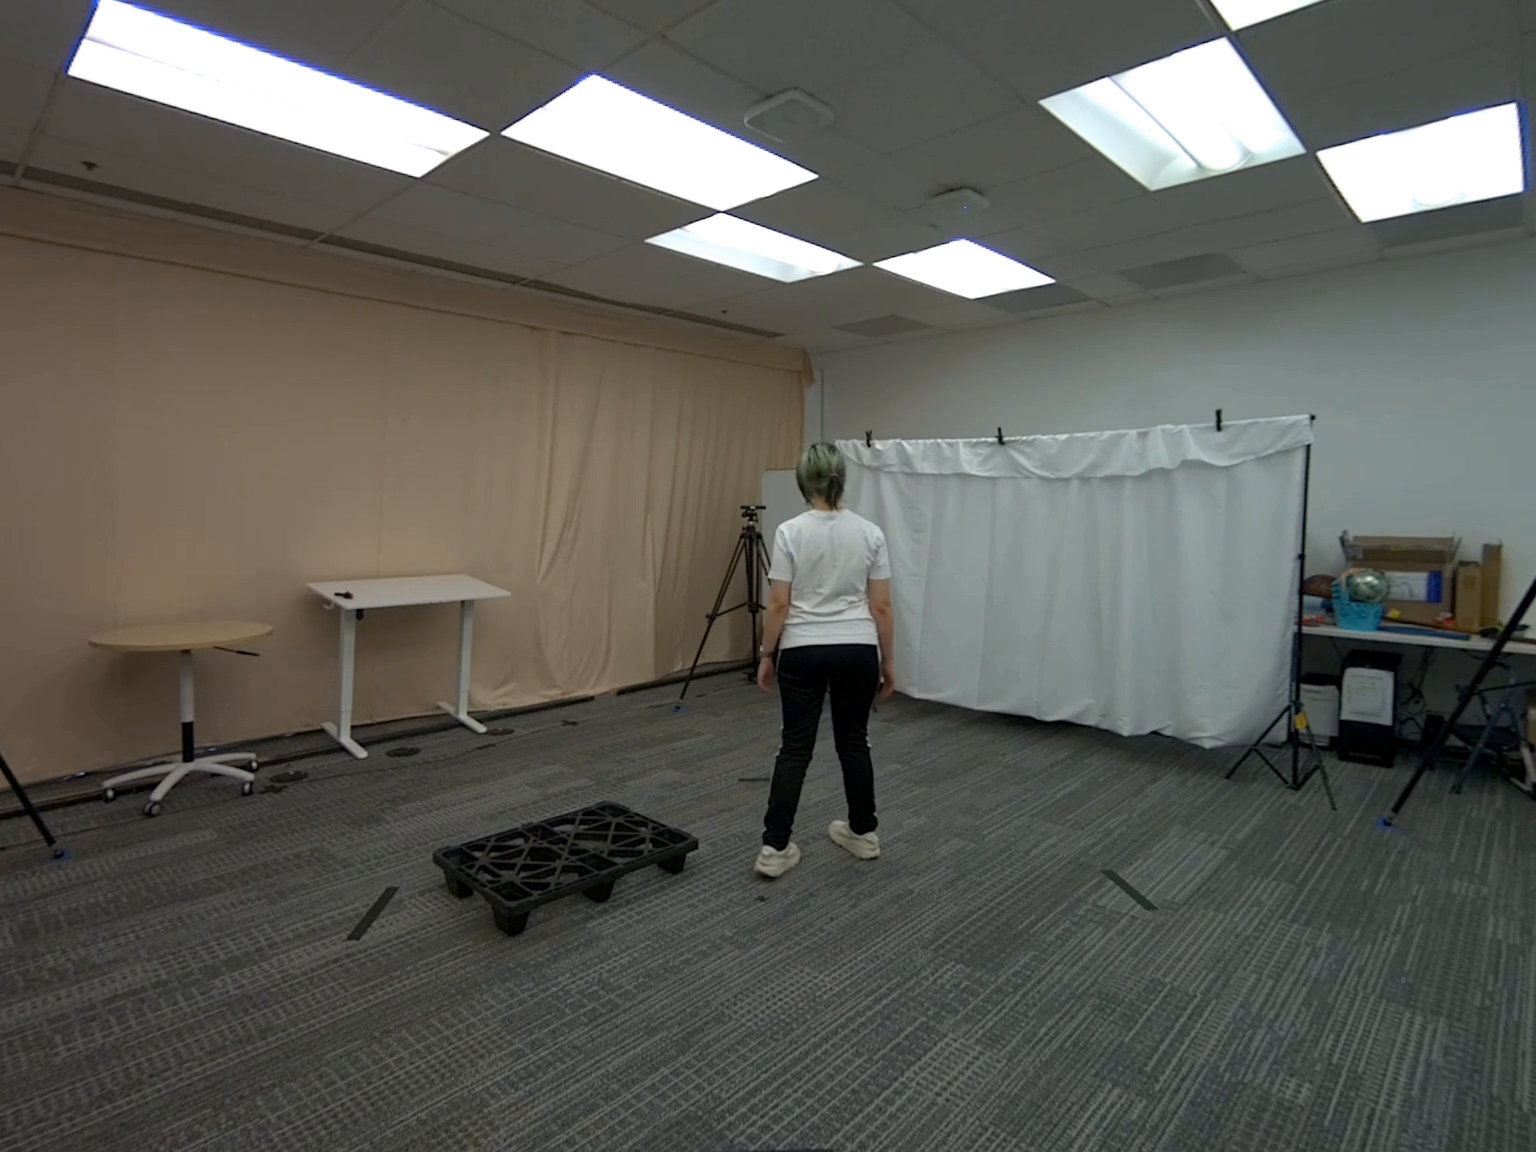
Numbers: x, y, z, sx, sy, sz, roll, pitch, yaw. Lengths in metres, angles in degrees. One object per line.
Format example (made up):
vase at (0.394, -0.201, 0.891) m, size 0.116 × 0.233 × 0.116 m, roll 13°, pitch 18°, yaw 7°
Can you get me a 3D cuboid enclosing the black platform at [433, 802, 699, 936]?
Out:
black platform at (-0.739, 1.074, 3.141) m, size 0.781 × 0.143 × 0.625 m, roll -5°, pitch 7°, yaw -43°
